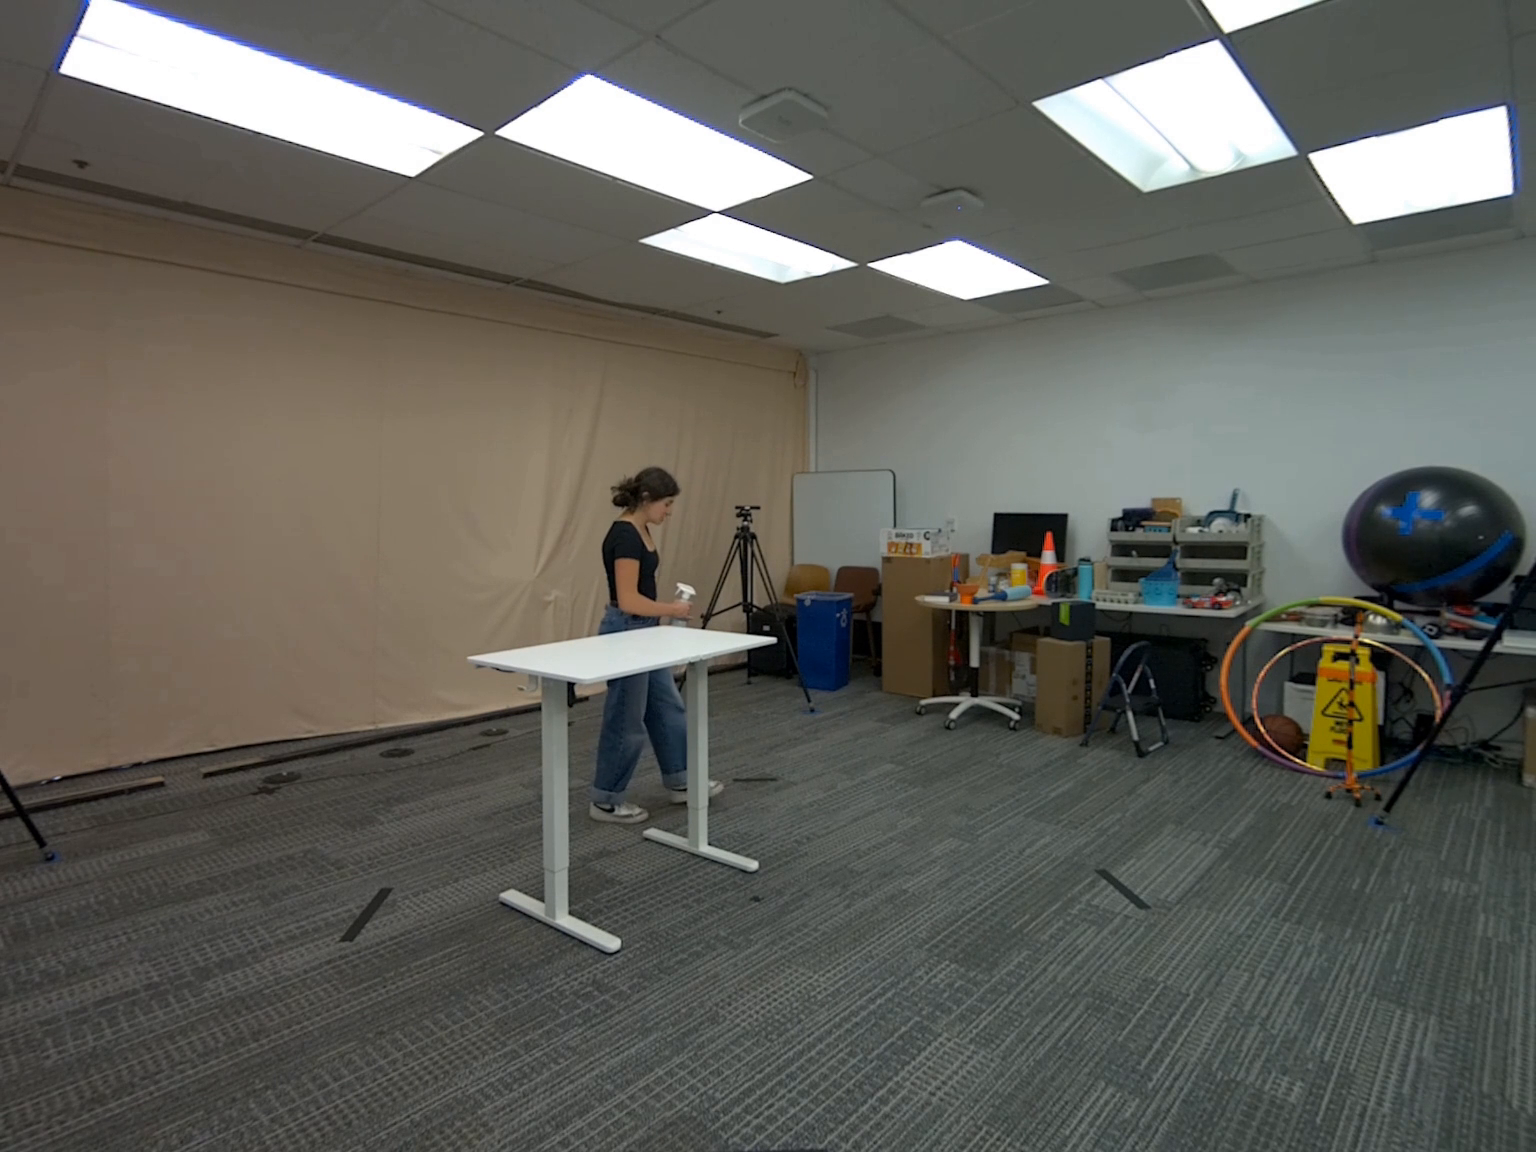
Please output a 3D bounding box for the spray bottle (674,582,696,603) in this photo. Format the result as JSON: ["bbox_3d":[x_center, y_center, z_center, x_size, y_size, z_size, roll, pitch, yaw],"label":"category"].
[{"bbox_3d":[-0.395,0.187,3.746,0.092,0.297,0.085,13,4,16],"label":"spray bottle"}]
